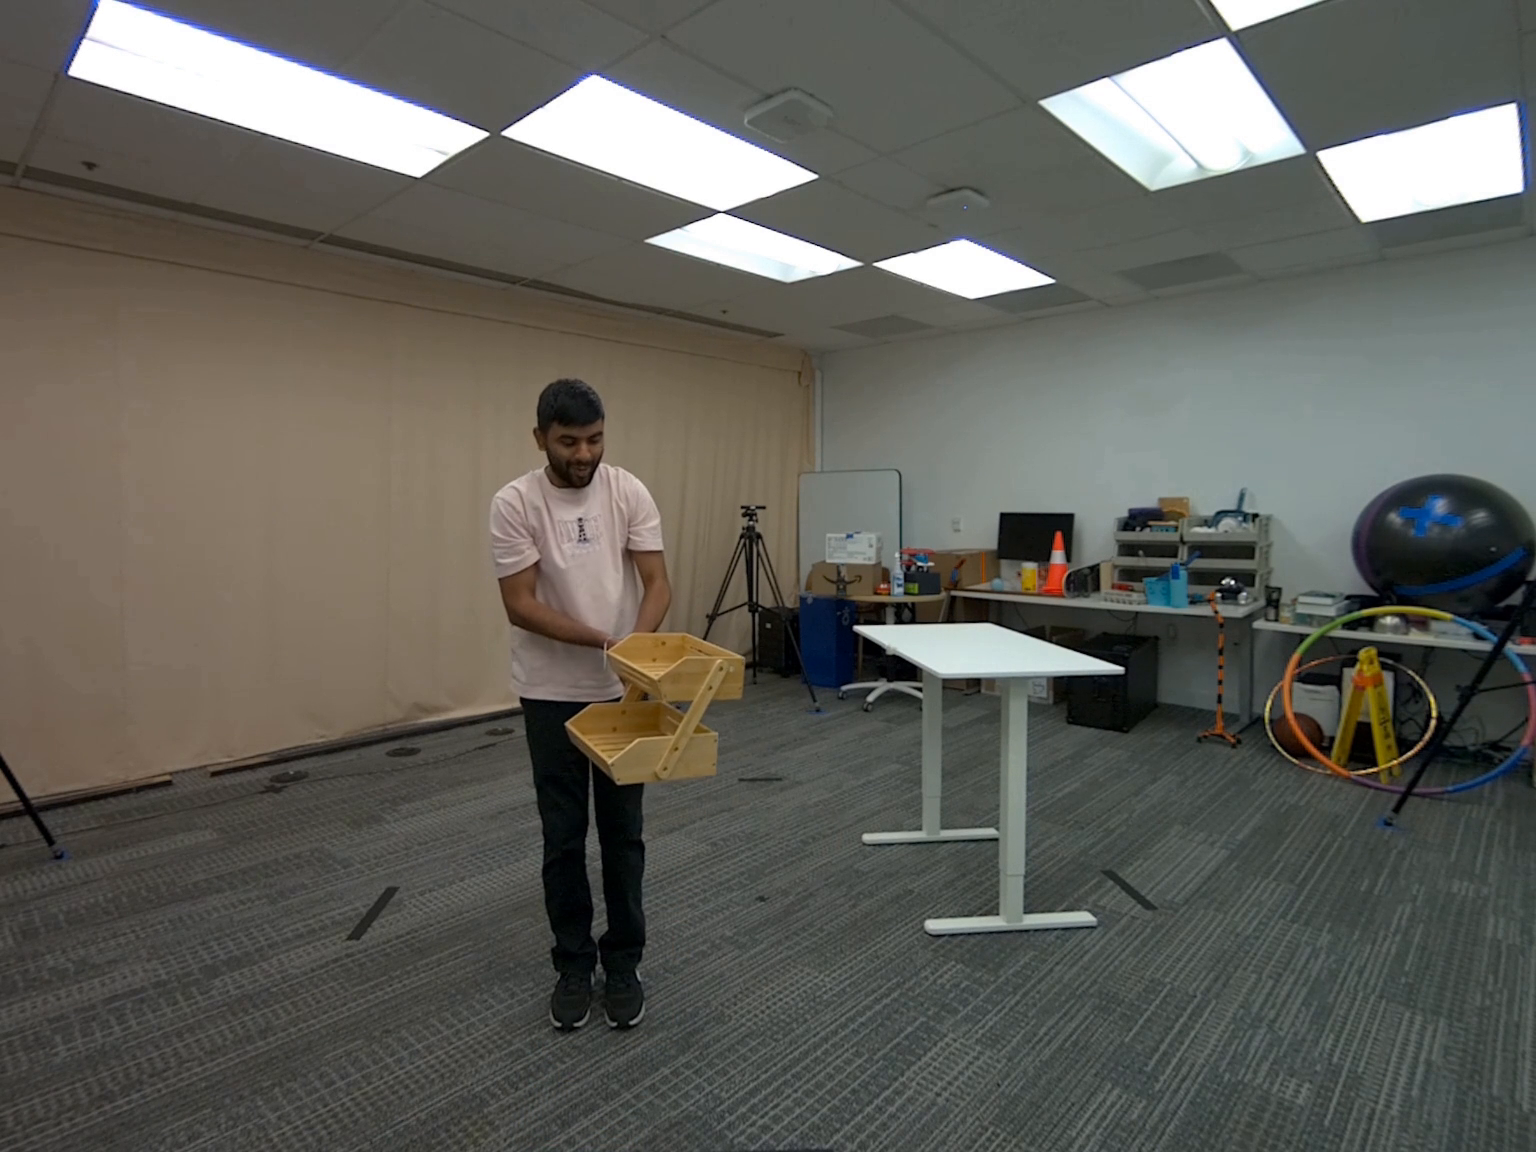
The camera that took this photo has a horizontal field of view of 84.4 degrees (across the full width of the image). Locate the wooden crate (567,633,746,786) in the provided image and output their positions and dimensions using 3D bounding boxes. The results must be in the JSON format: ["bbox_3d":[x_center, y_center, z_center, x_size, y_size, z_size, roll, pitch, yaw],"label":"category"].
[{"bbox_3d":[-0.274,0.284,1.907,0.294,0.273,0.334,5,4,-27],"label":"wooden crate"}]
